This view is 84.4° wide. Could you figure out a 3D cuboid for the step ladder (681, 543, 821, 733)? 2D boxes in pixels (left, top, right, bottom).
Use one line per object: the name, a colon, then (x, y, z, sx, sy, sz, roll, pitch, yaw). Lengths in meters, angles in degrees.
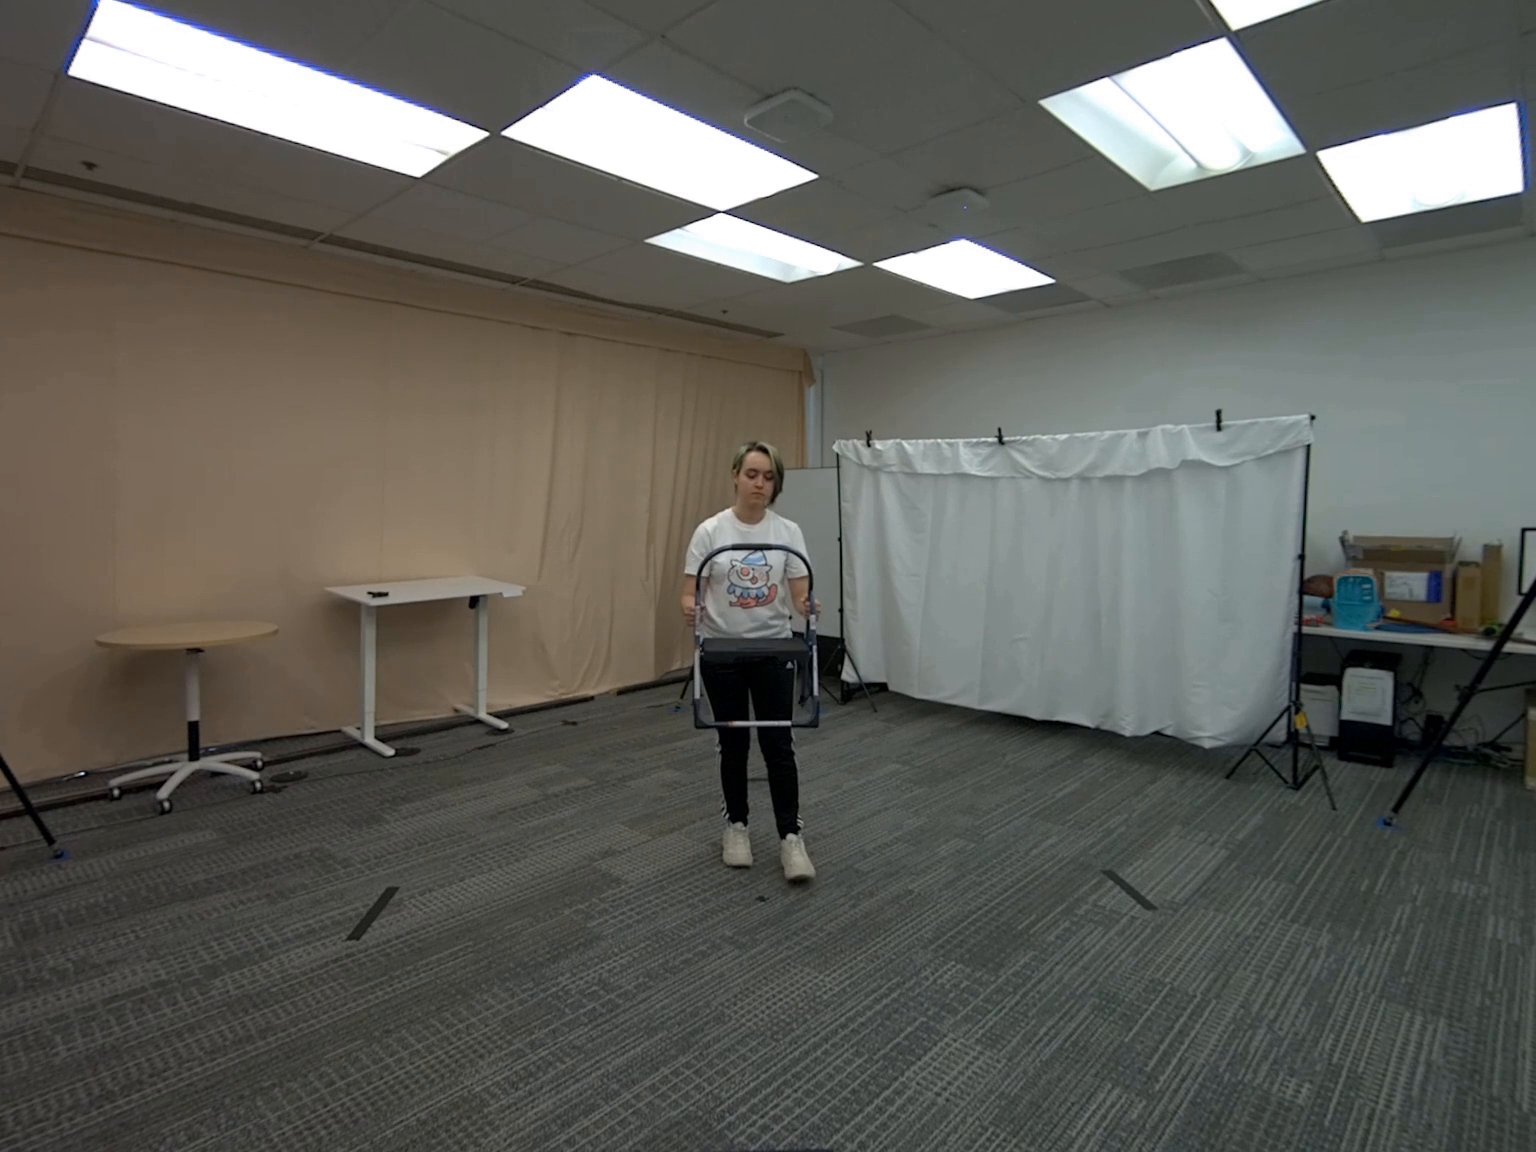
step ladder: (-0.047, 0.198, 2.915, 0.428, 0.604, 0.352, 0, 4, -6)
